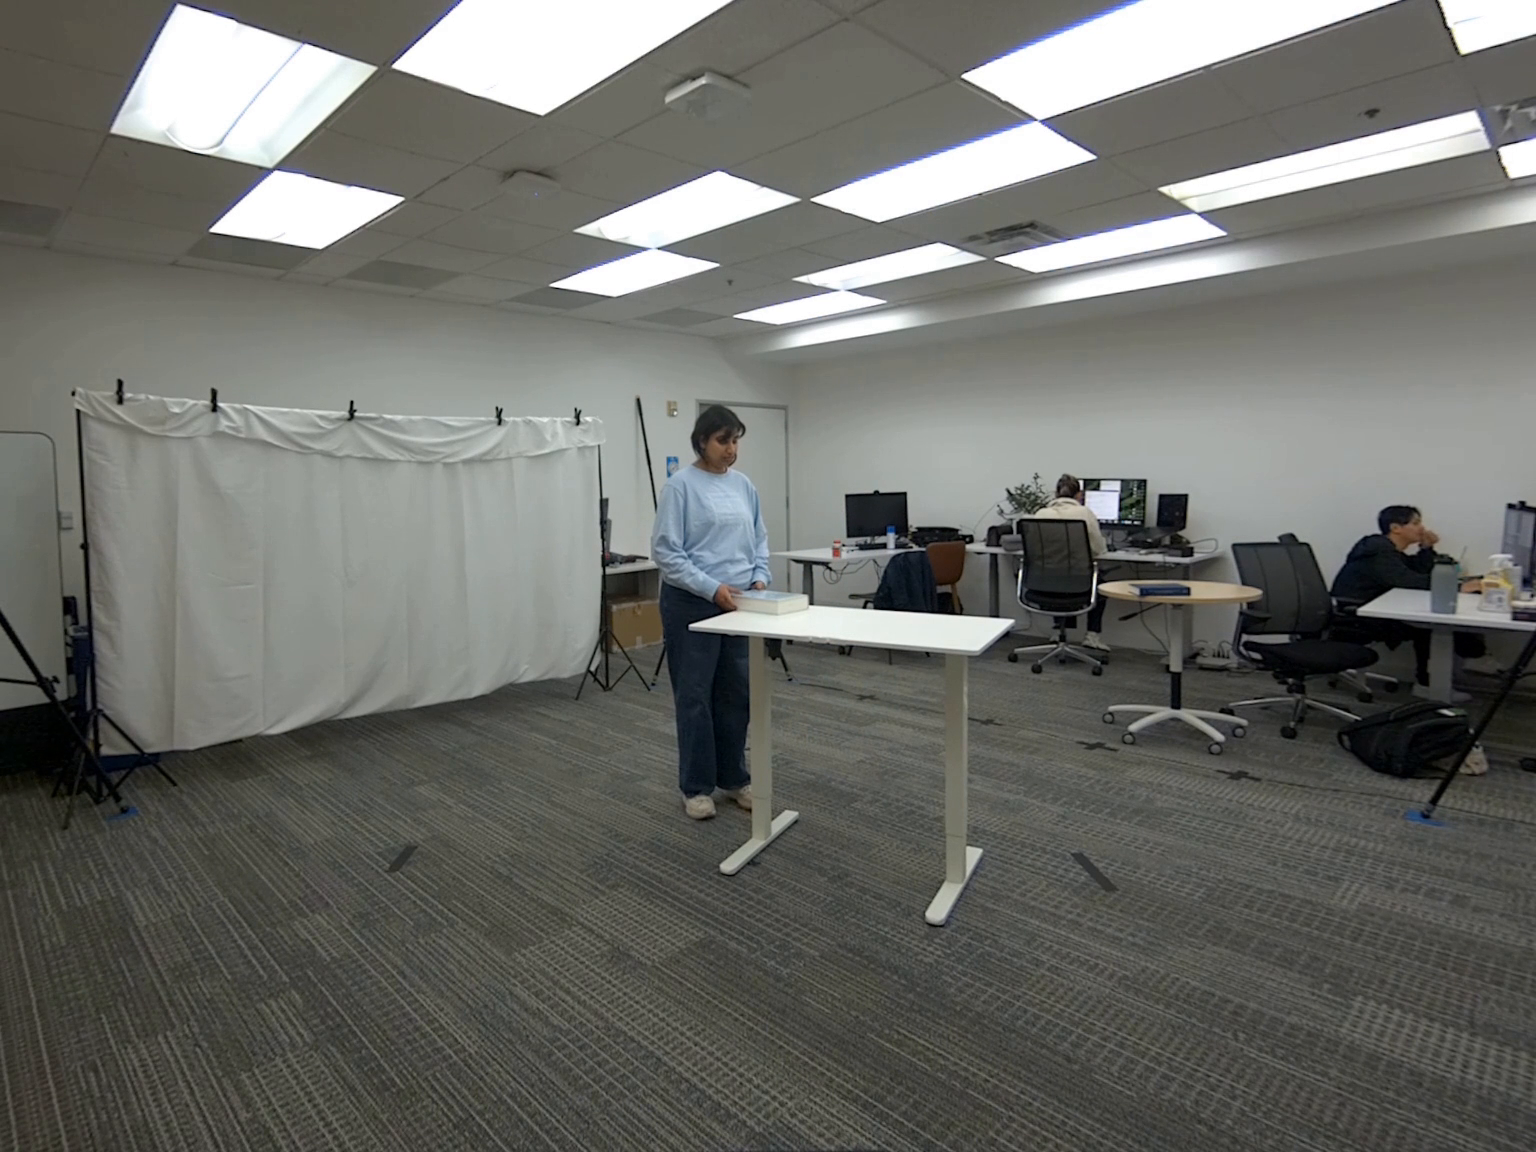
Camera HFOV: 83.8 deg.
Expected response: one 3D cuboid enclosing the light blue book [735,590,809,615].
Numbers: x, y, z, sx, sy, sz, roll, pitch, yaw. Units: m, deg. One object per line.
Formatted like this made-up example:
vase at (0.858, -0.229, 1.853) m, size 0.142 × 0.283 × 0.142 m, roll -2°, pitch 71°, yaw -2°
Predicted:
light blue book at (0.007, 0.107, 3.345) m, size 0.269 × 0.059 × 0.186 m, roll 3°, pitch 8°, yaw 41°
